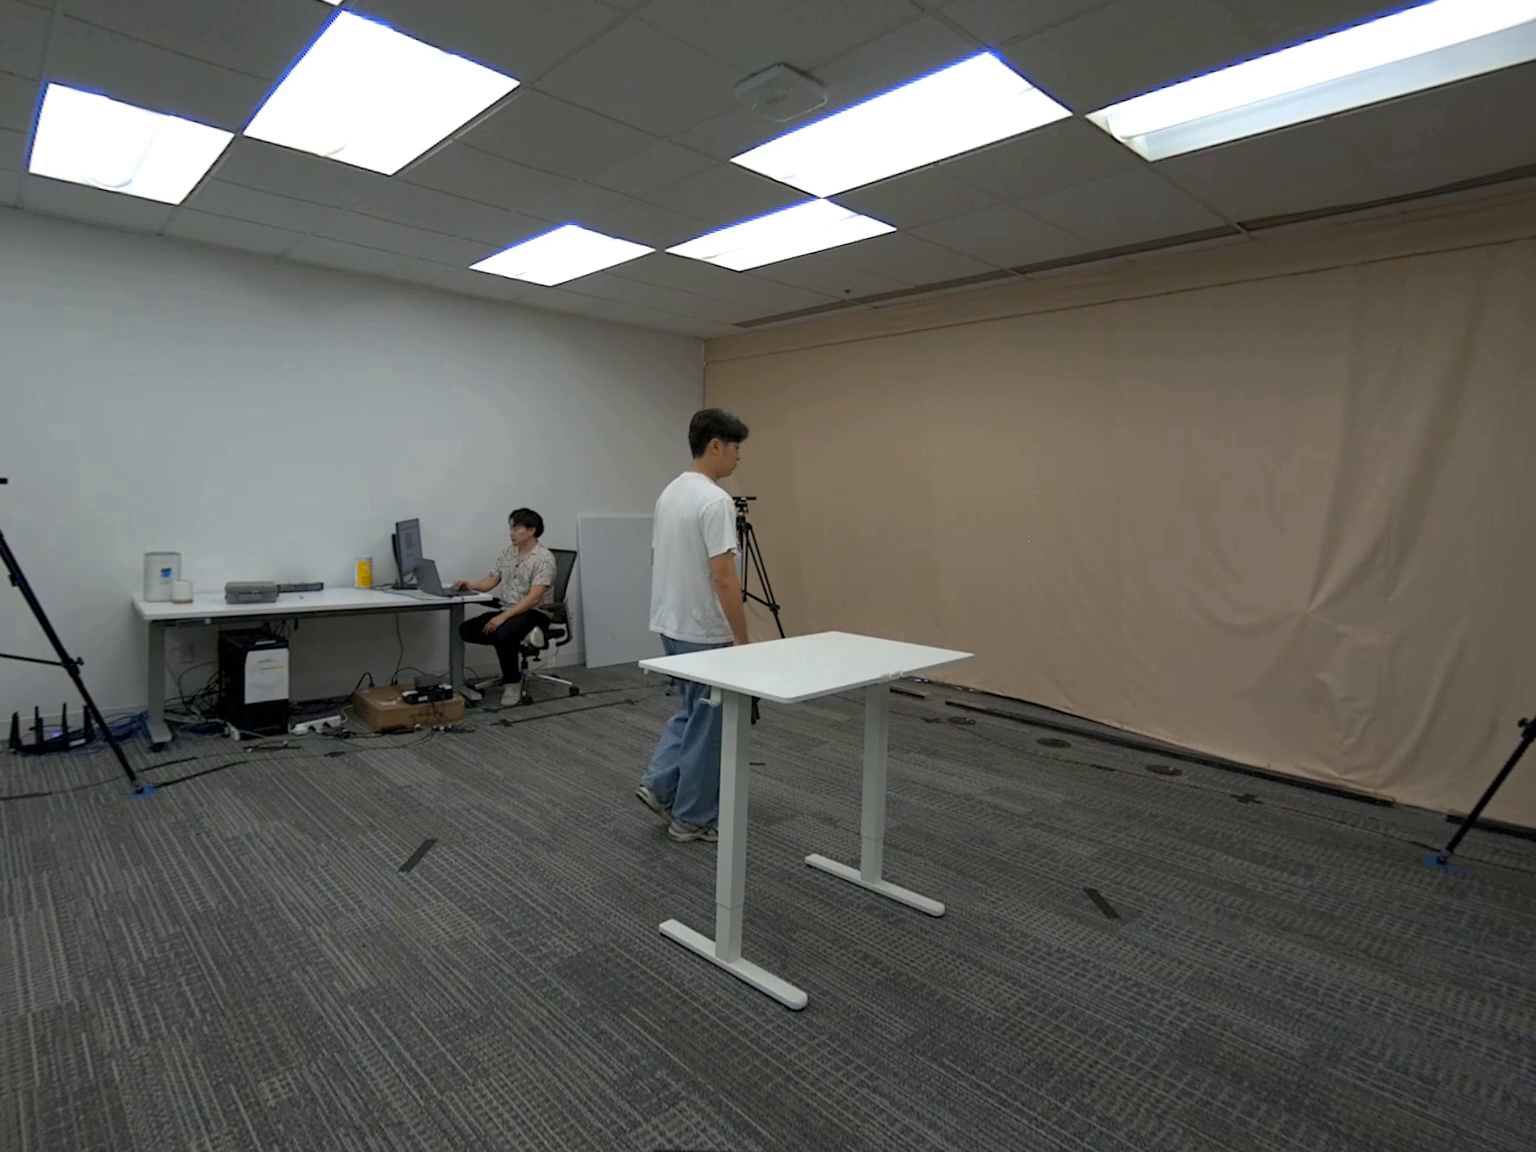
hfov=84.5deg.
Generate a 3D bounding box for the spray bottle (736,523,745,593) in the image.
[{"bbox_3d":[-0.167,-0.079,3.656,0.089,0.297,0.088,2,3,36],"label":"spray bottle"}]
